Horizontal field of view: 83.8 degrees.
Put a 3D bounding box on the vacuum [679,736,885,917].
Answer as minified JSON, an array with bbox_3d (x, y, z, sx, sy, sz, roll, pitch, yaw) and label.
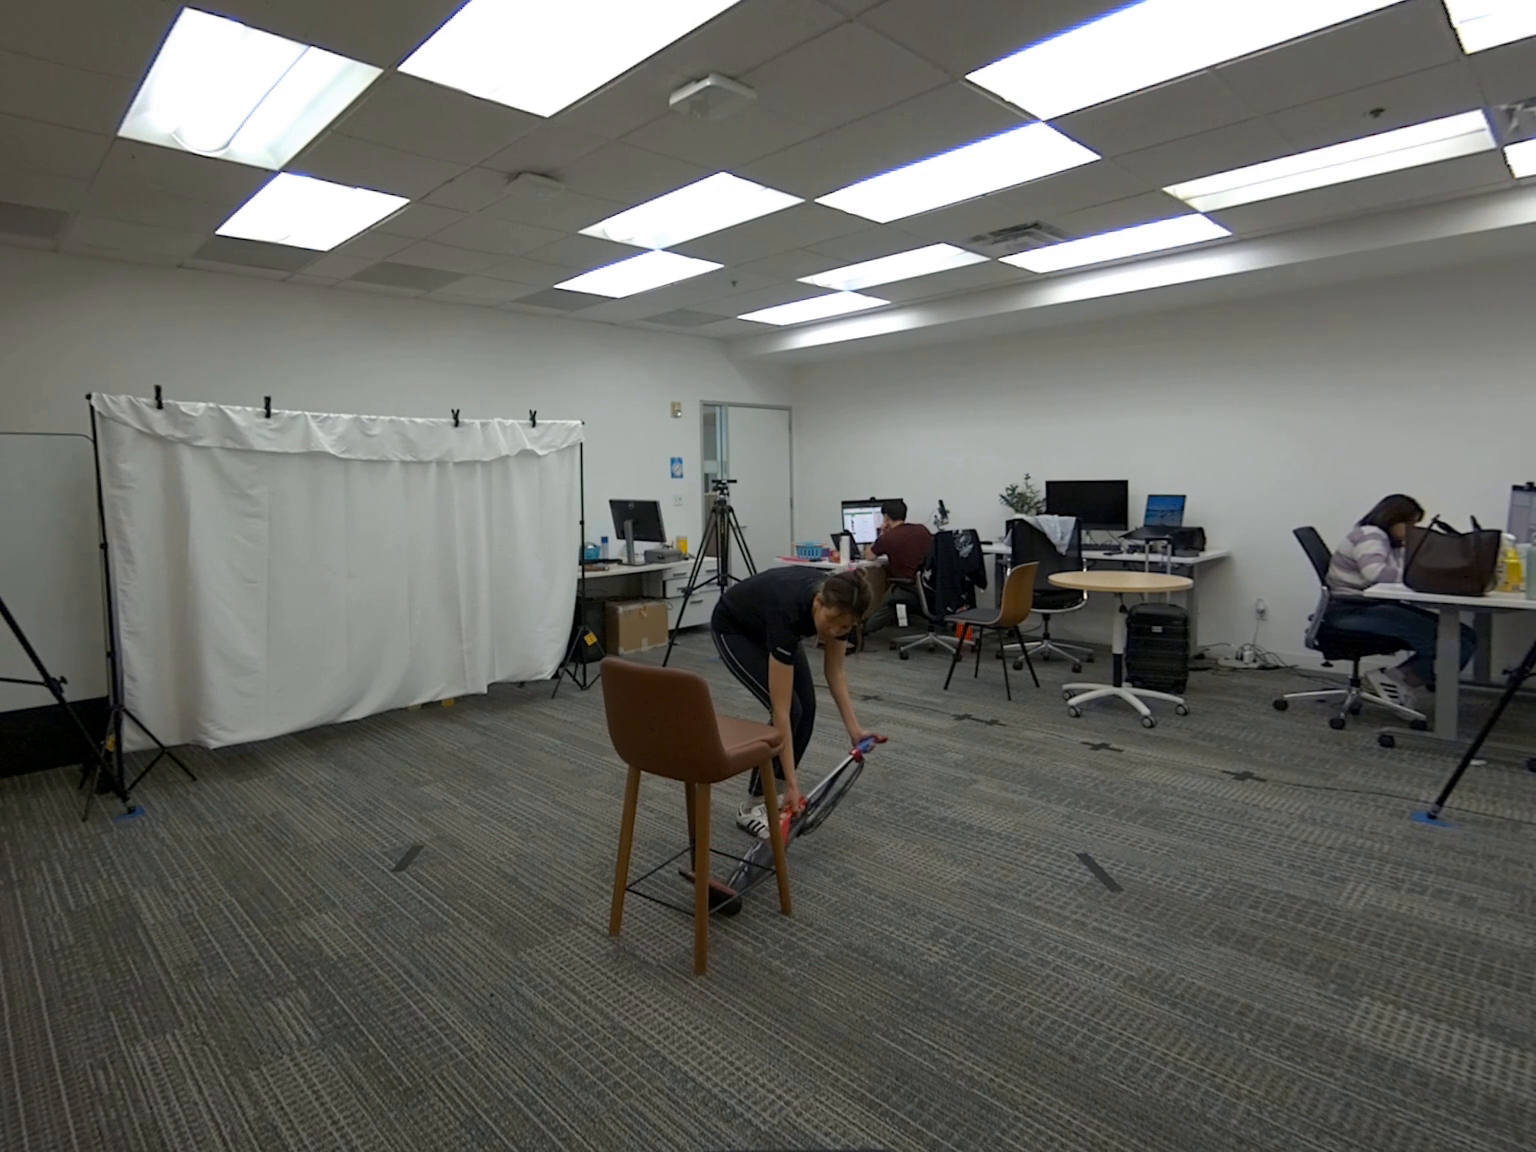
[{"bbox_3d":[0.160,0.855,3.111,0.260,0.141,1.035,3,23,42],"label":"vacuum"}]
